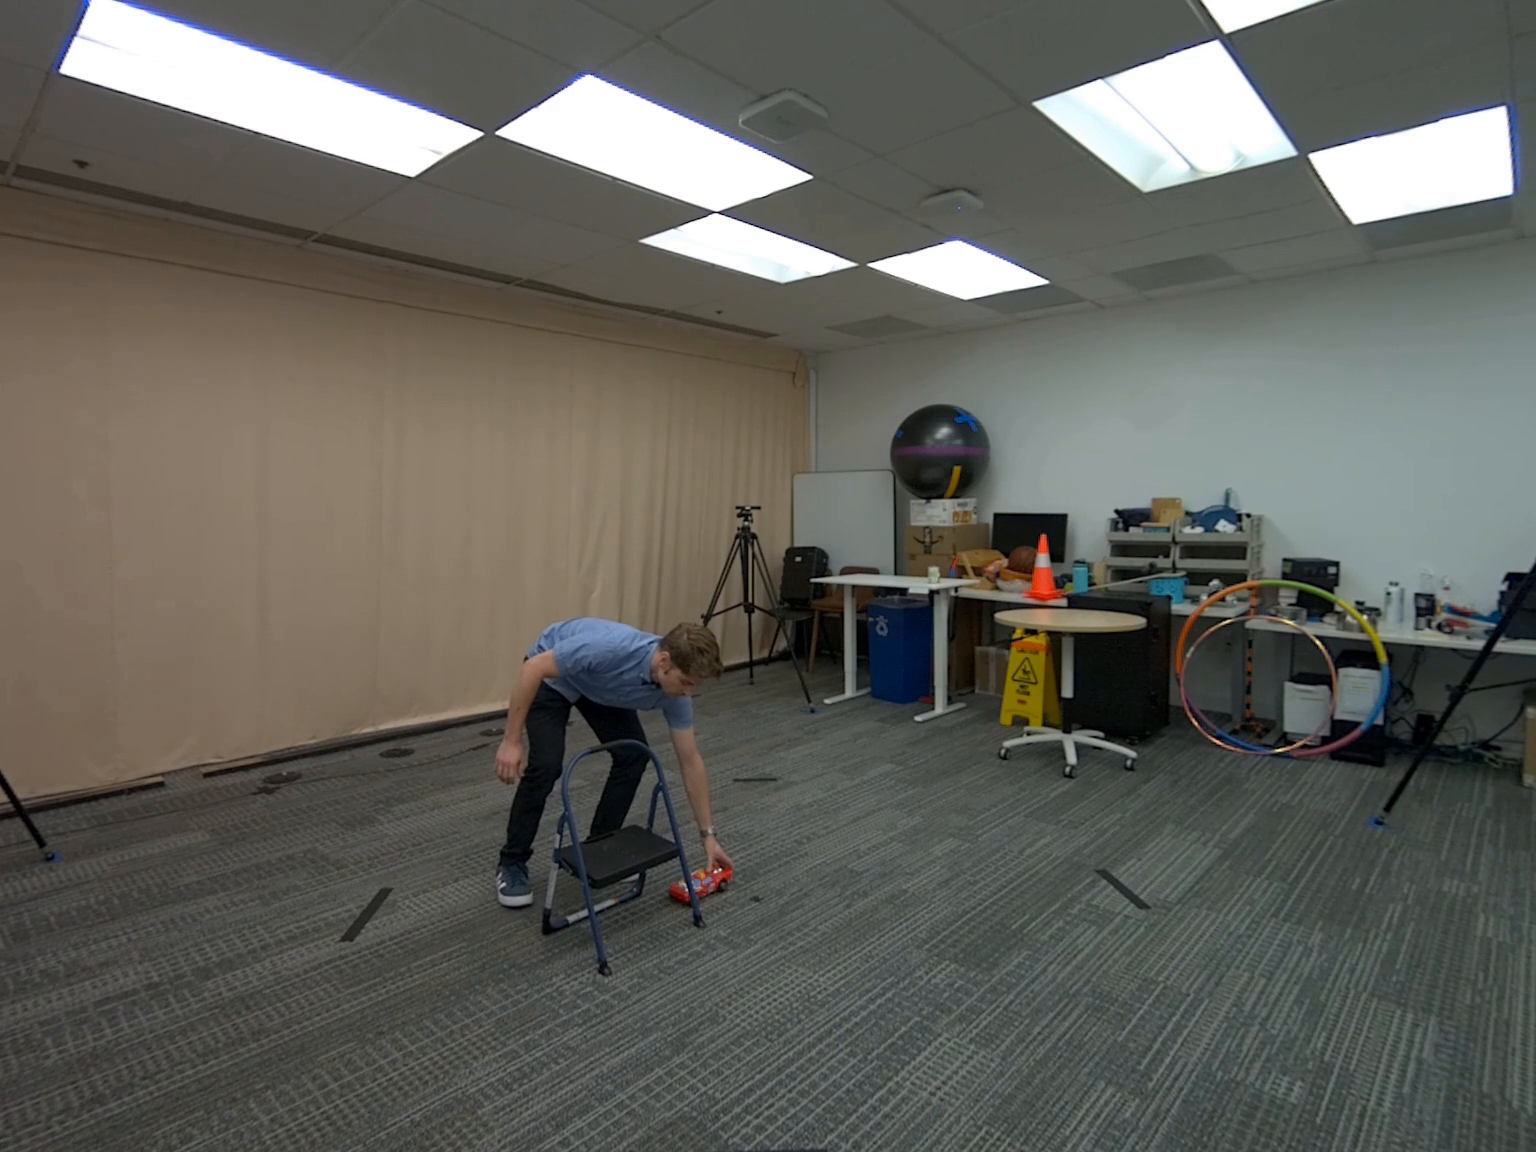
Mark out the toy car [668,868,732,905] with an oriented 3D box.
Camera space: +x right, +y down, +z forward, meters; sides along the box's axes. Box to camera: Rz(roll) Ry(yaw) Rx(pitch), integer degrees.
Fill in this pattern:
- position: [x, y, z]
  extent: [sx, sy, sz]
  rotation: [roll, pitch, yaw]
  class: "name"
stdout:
- position: [-0.236, 1.113, 3.029]
  extent: [0.134, 0.082, 0.248]
  rotation: [3, 16, 42]
  class: "toy car"
